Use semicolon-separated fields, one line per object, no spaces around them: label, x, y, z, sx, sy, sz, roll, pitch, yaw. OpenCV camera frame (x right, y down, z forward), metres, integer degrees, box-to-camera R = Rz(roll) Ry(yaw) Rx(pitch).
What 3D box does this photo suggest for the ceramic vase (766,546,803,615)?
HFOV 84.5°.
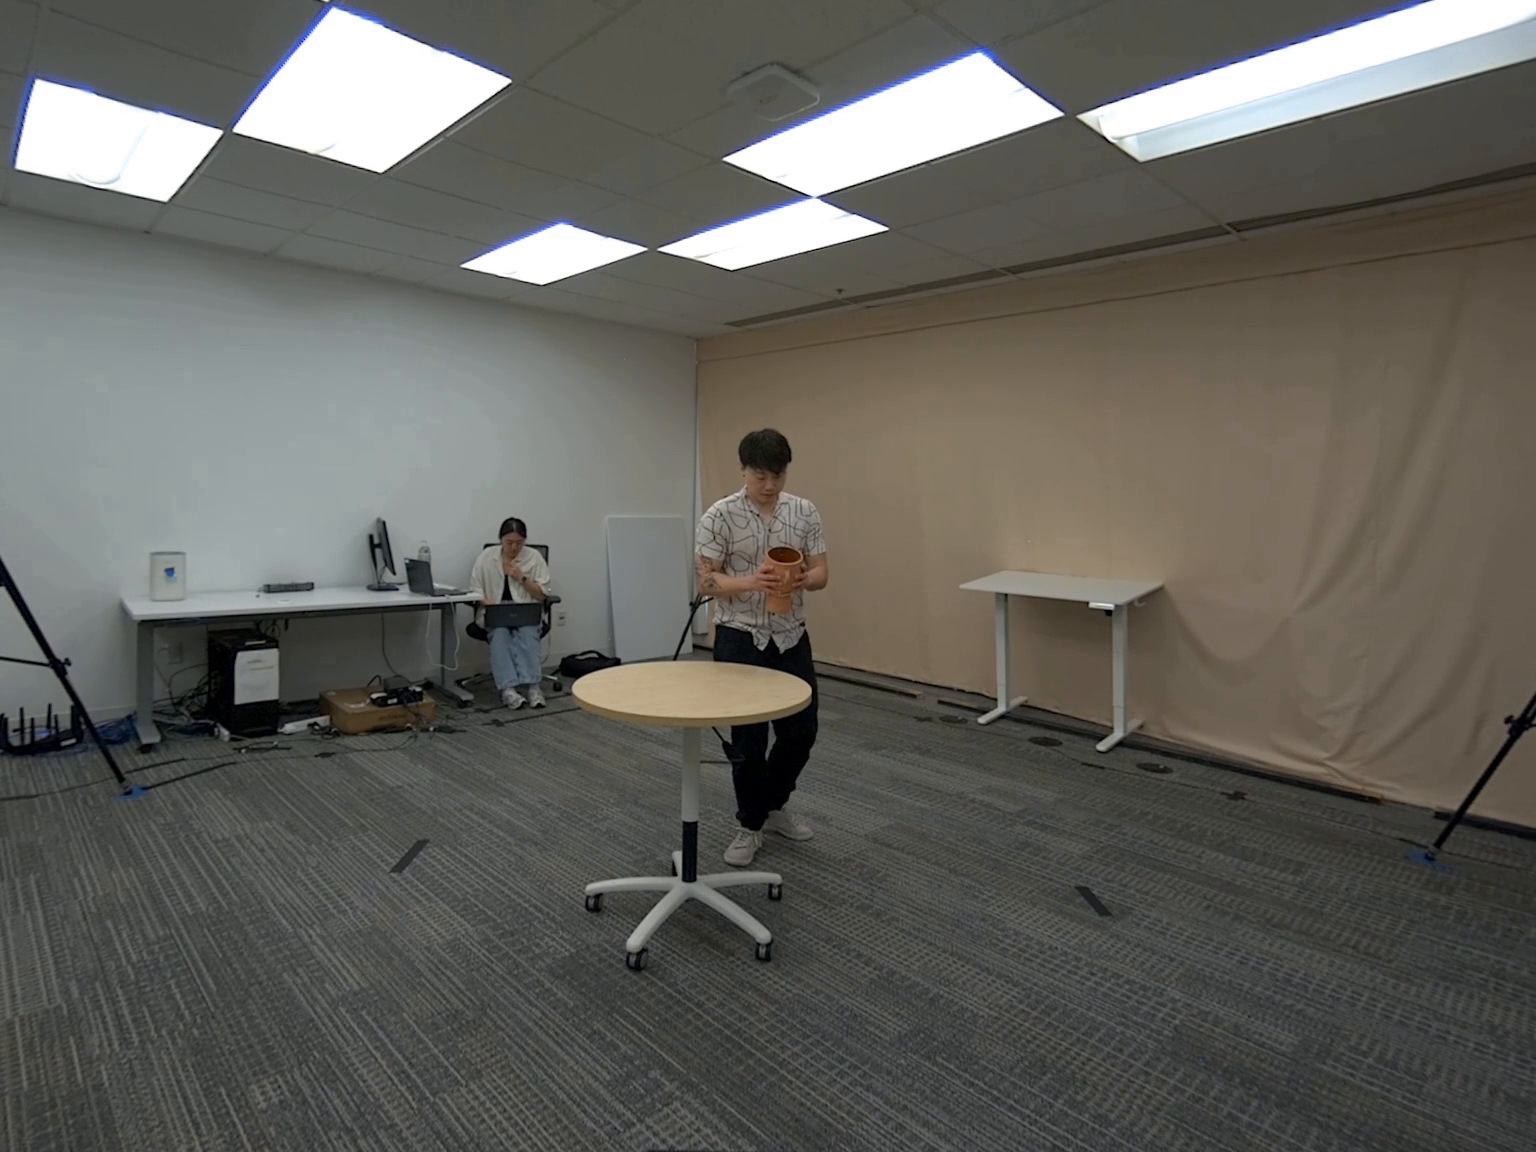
ceramic vase;0.030;0.018;3.011;0.138;0.216;0.158;21;33;25
